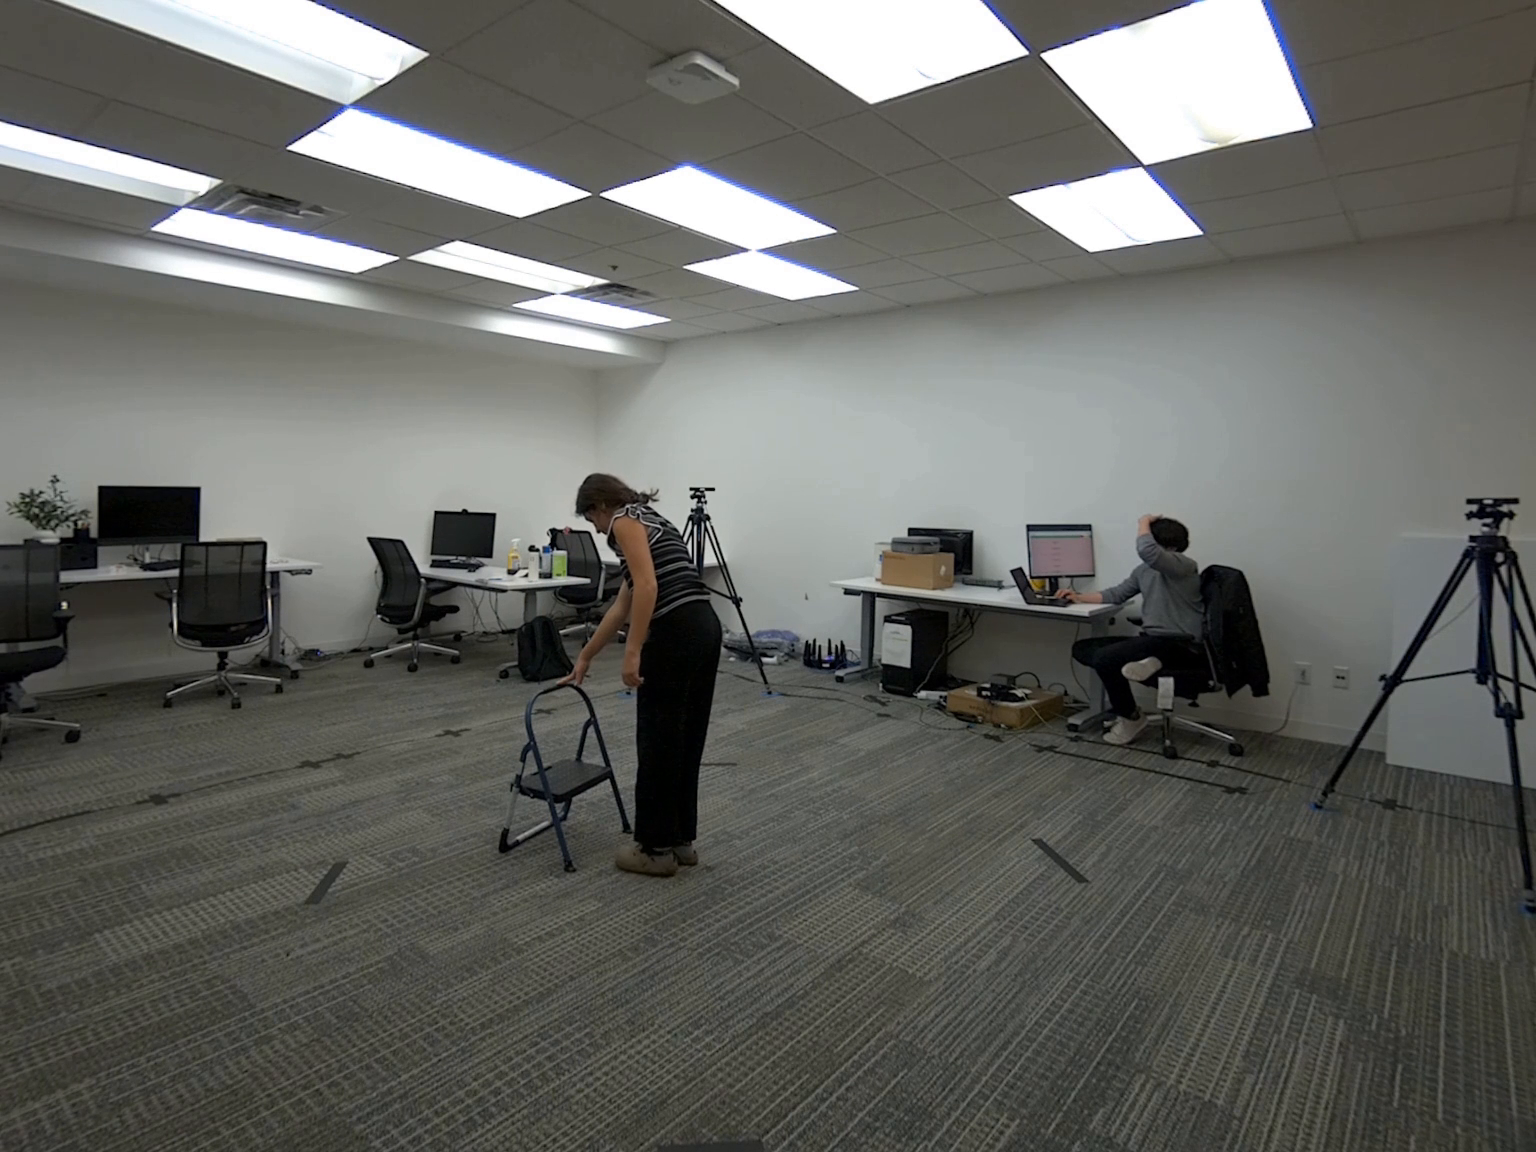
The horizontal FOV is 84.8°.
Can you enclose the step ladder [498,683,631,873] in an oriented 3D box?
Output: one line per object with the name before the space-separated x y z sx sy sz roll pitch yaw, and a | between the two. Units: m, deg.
step ladder | -0.787 0.736 3.311 0.358 0.604 0.421 3 4 24
